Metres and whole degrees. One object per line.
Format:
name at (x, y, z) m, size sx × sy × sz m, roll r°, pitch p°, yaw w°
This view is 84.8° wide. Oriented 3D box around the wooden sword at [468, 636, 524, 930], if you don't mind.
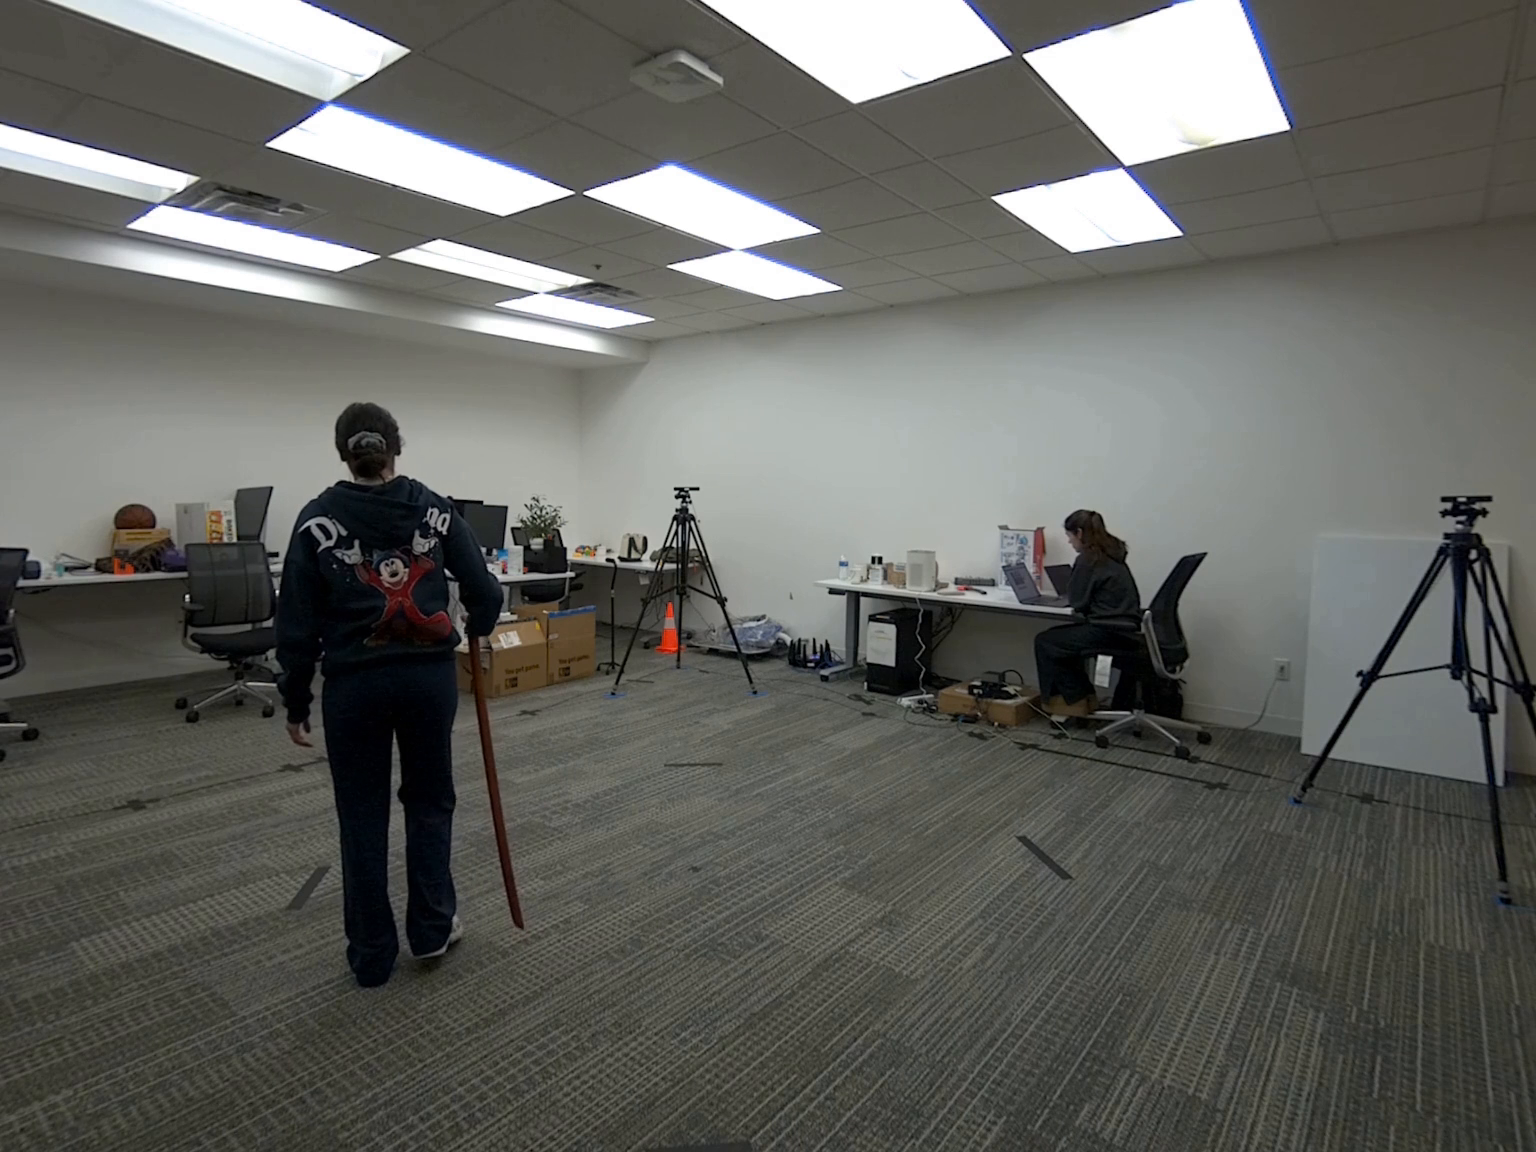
wooden sword at (-0.879, 0.583, 2.657) m, size 0.050 × 1.037 × 0.024 m, roll -6°, pitch -12°, yaw -26°
